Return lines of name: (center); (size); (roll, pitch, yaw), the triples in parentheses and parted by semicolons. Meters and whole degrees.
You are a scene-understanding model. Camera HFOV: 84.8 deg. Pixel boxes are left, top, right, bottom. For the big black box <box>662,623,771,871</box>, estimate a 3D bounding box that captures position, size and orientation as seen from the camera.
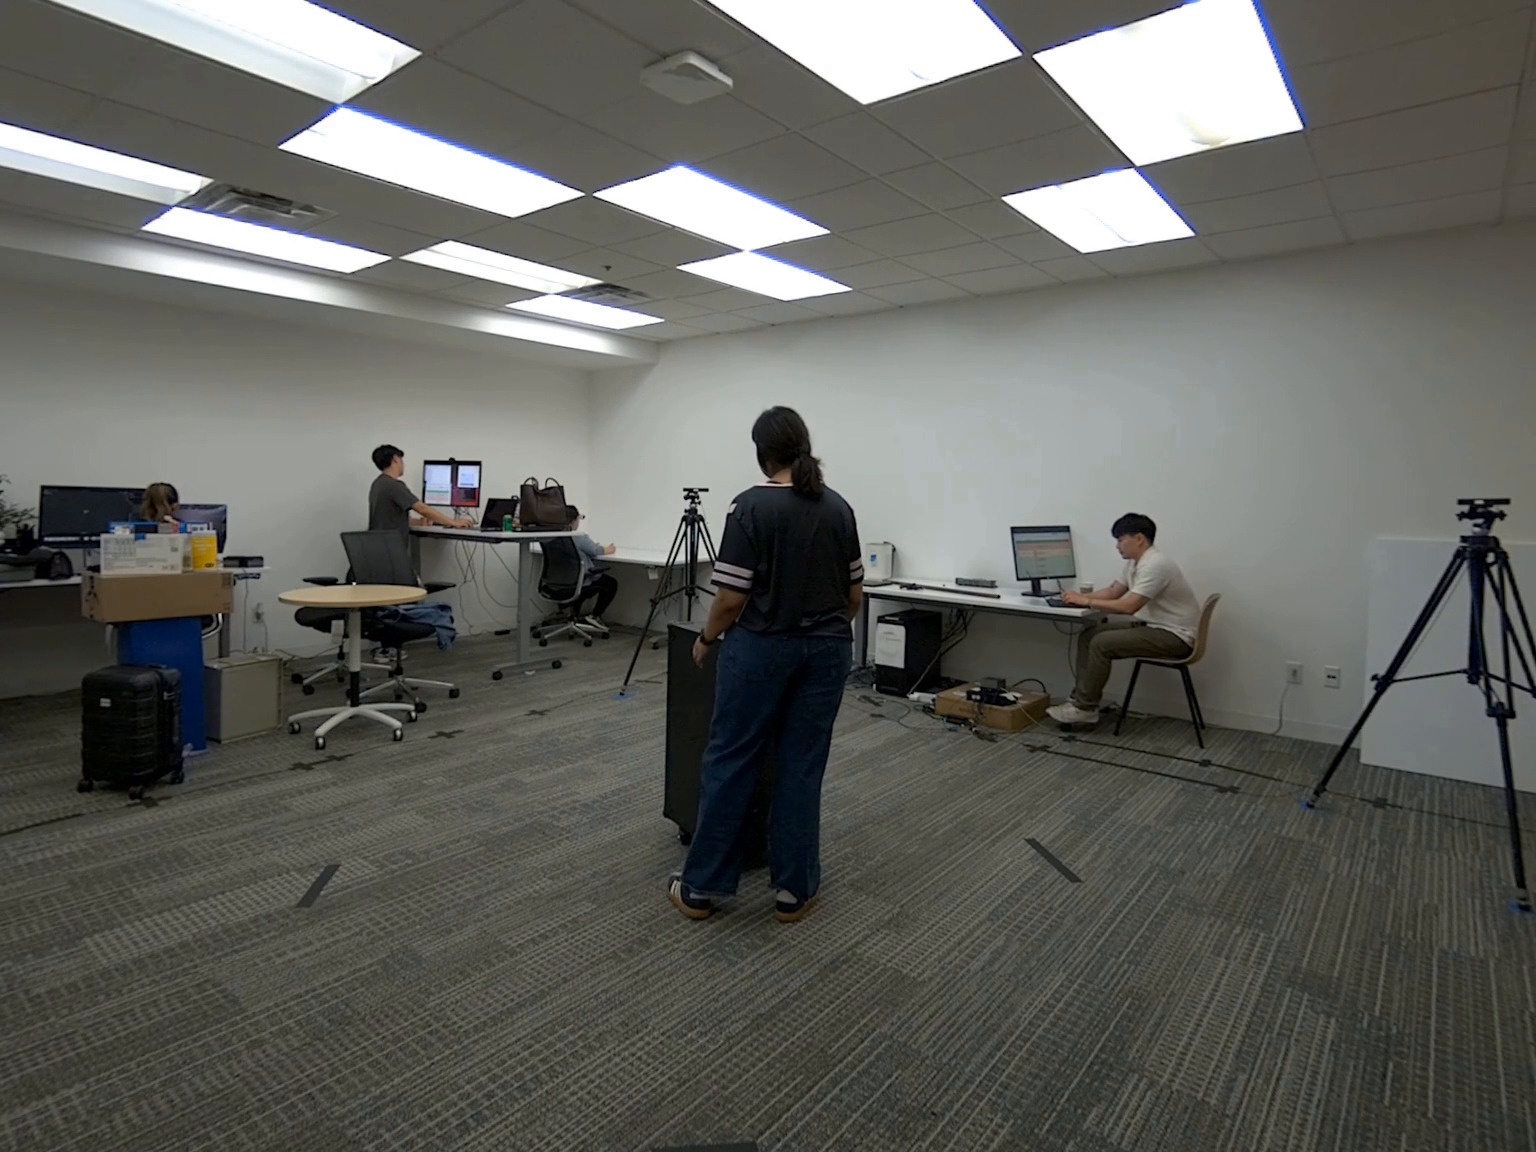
big black box: (-0.149, 0.629, 3.316); (0.374, 0.866, 0.540); (0, 4, -34)
